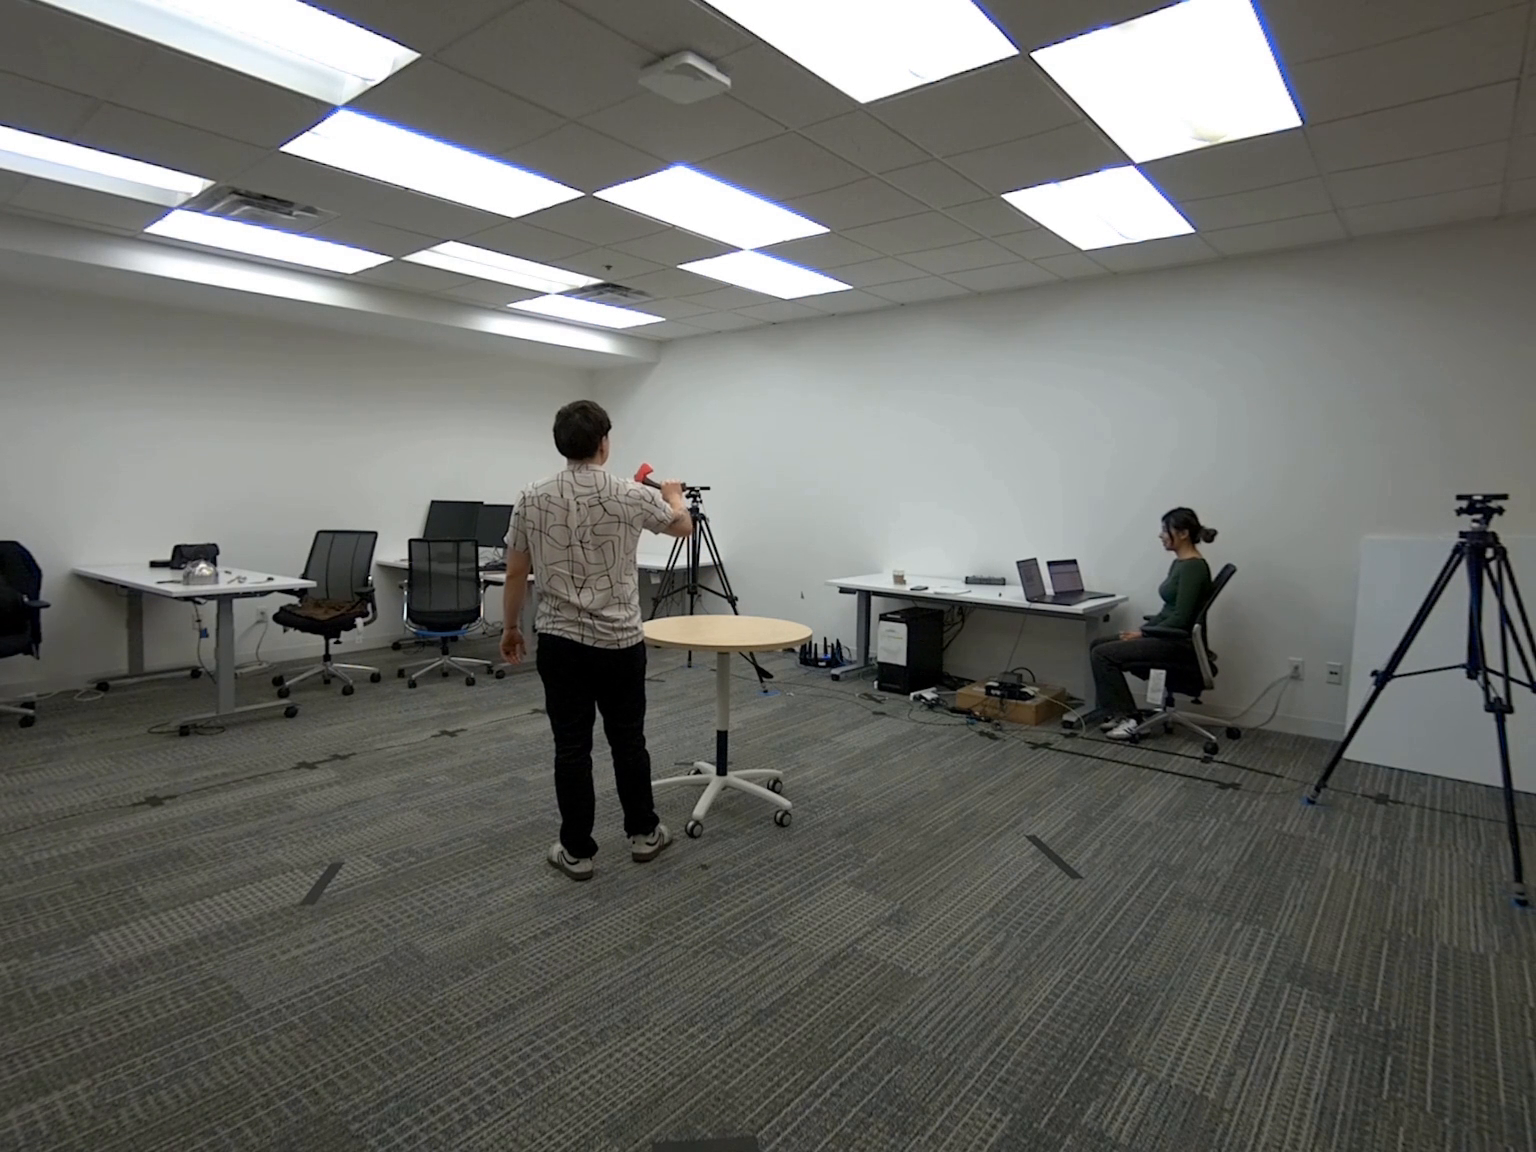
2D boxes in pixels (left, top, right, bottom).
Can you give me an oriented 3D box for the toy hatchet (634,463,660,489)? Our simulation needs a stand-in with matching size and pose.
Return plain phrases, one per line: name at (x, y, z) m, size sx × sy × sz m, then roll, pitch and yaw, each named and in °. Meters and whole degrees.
toy hatchet at (-0.460, -0.417, 3.568) m, size 0.277 × 0.131 × 0.029 m, roll 3°, pitch -2°, yaw 27°
